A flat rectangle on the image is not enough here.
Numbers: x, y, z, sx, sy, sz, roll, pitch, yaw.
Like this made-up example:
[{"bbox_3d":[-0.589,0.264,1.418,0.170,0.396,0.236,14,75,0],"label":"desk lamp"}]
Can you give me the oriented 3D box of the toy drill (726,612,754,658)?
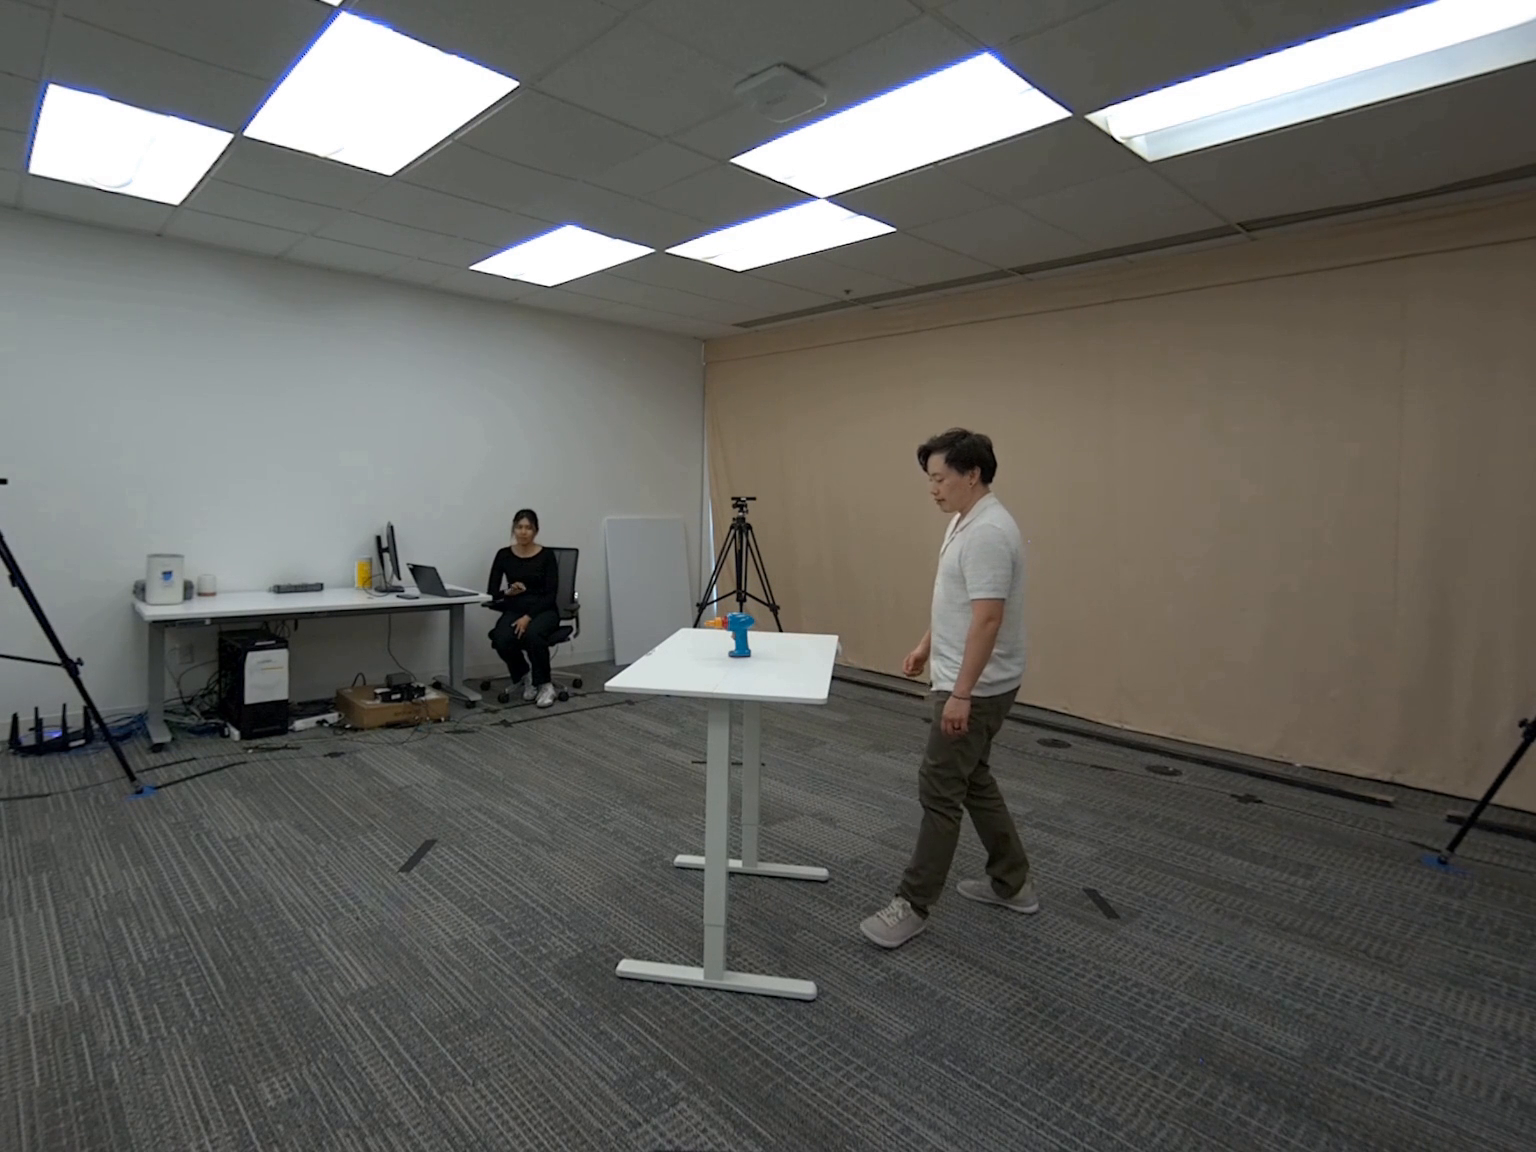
[{"bbox_3d":[-0.119,0.191,2.708,0.168,0.145,0.062,0,6,-13],"label":"toy drill"}]
